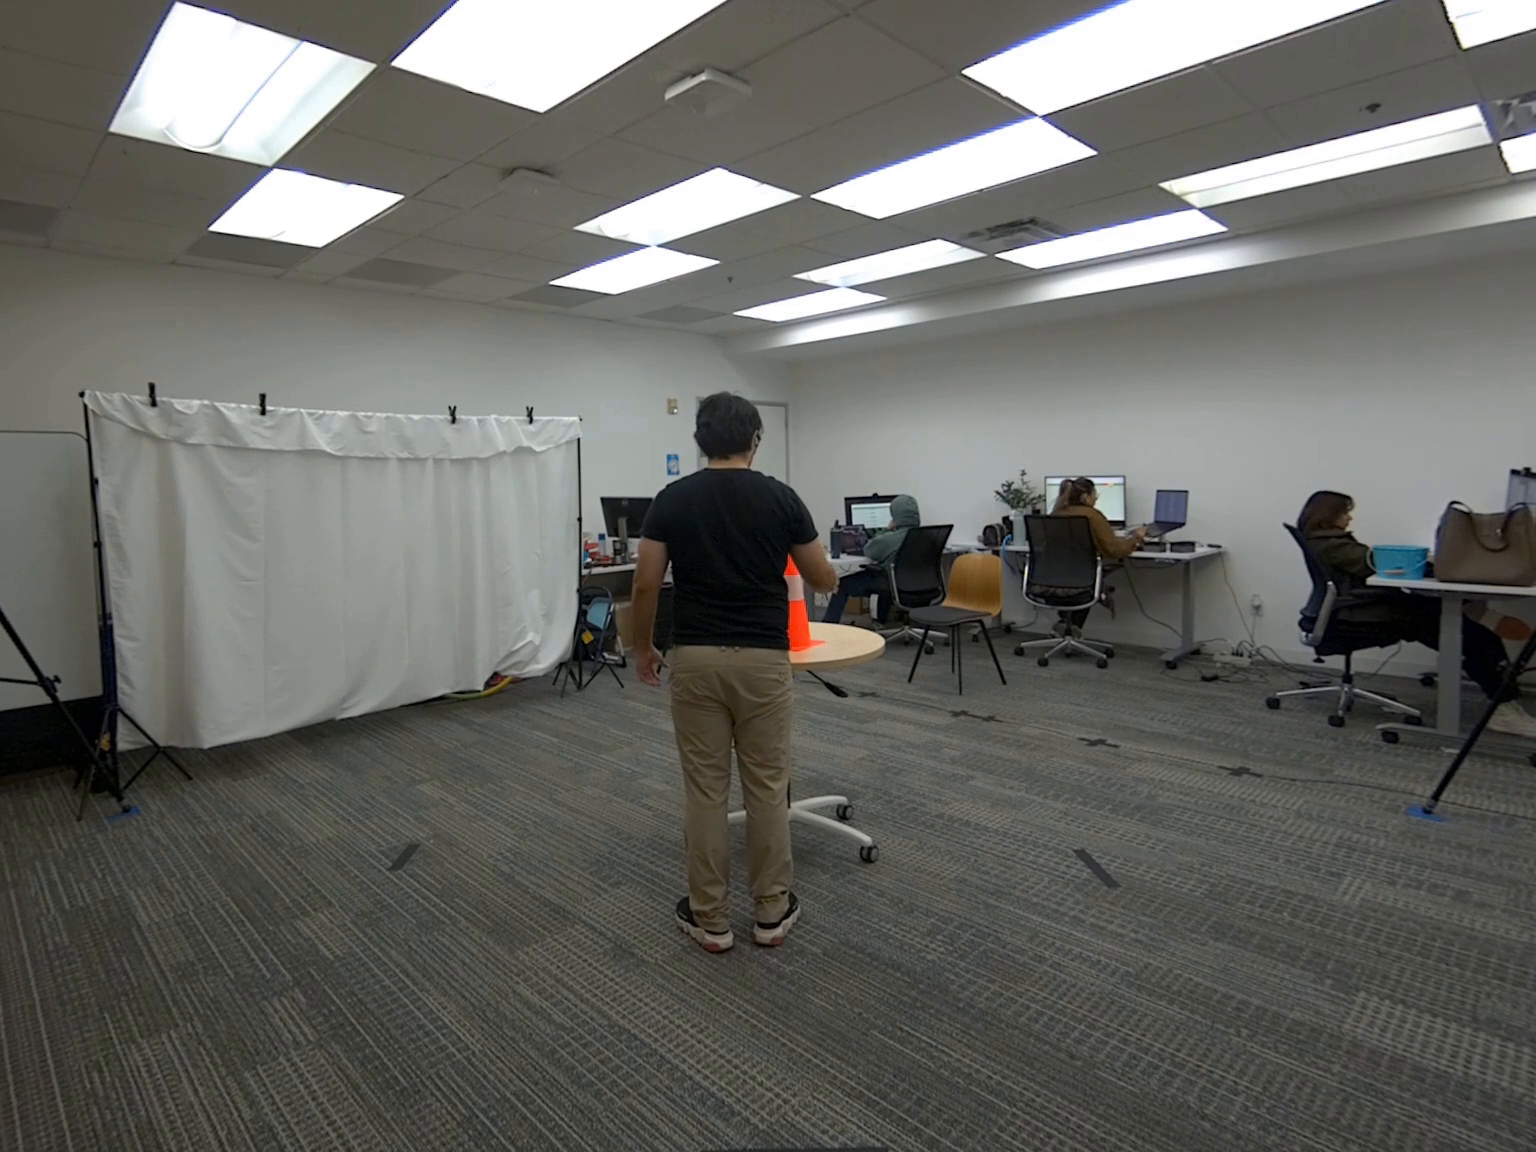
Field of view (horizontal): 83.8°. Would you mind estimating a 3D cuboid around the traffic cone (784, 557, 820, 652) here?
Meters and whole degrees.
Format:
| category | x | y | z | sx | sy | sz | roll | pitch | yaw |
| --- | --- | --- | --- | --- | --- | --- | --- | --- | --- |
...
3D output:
| category | x | y | z | sx | sy | sz | roll | pitch | yaw |
| --- | --- | --- | --- | --- | --- | --- | --- | --- | --- |
| traffic cone | 0.082 | 0.061 | 3.114 | 0.209 | 0.382 | 0.200 | 3 | 6 | 38 |
